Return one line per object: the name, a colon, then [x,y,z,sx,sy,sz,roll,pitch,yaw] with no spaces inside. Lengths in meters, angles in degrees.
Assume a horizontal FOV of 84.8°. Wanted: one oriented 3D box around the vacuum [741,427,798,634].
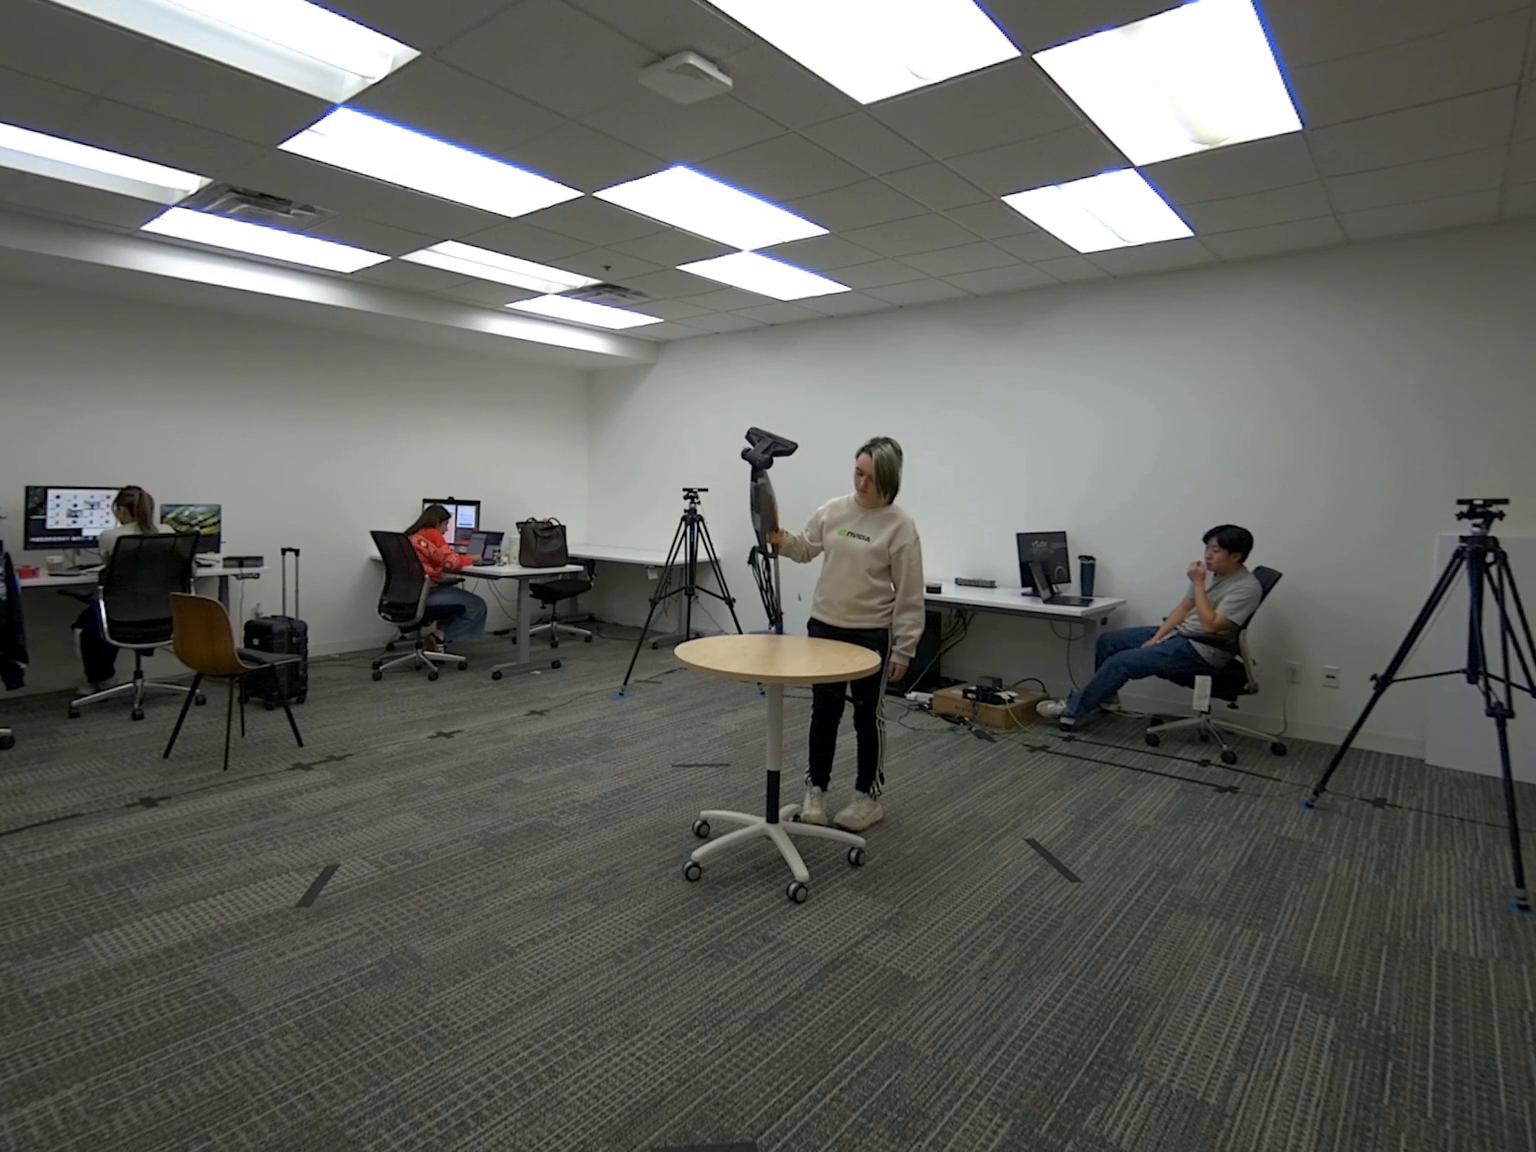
vacuum: [-0.010,-0.080,3.569,0.142,1.021,0.263,-26,38,-33]
